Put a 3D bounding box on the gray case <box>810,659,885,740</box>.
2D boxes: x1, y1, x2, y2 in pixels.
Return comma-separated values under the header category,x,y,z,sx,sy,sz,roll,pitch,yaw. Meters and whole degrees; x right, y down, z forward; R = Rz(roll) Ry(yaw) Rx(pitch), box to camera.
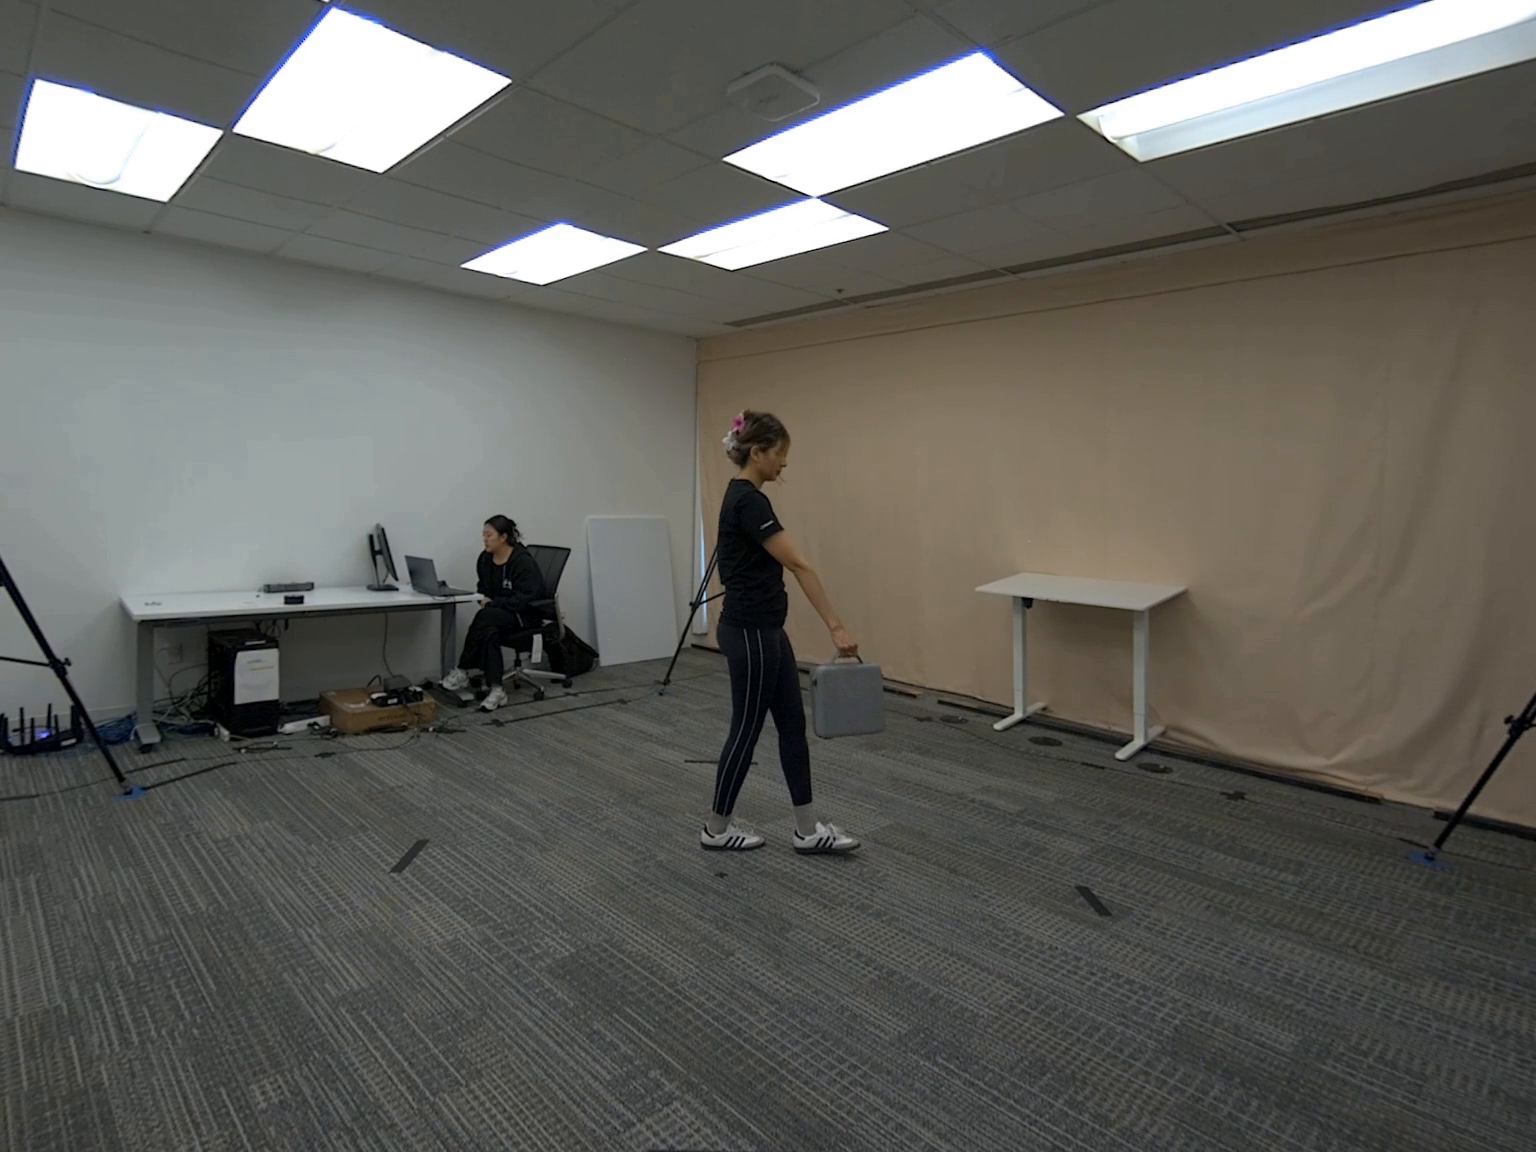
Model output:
category,x,y,z,sx,sy,sz,roll,pitch,yaw
gray case,0.282,0.436,3.006,0.254,0.261,0.105,-3,-4,-15
